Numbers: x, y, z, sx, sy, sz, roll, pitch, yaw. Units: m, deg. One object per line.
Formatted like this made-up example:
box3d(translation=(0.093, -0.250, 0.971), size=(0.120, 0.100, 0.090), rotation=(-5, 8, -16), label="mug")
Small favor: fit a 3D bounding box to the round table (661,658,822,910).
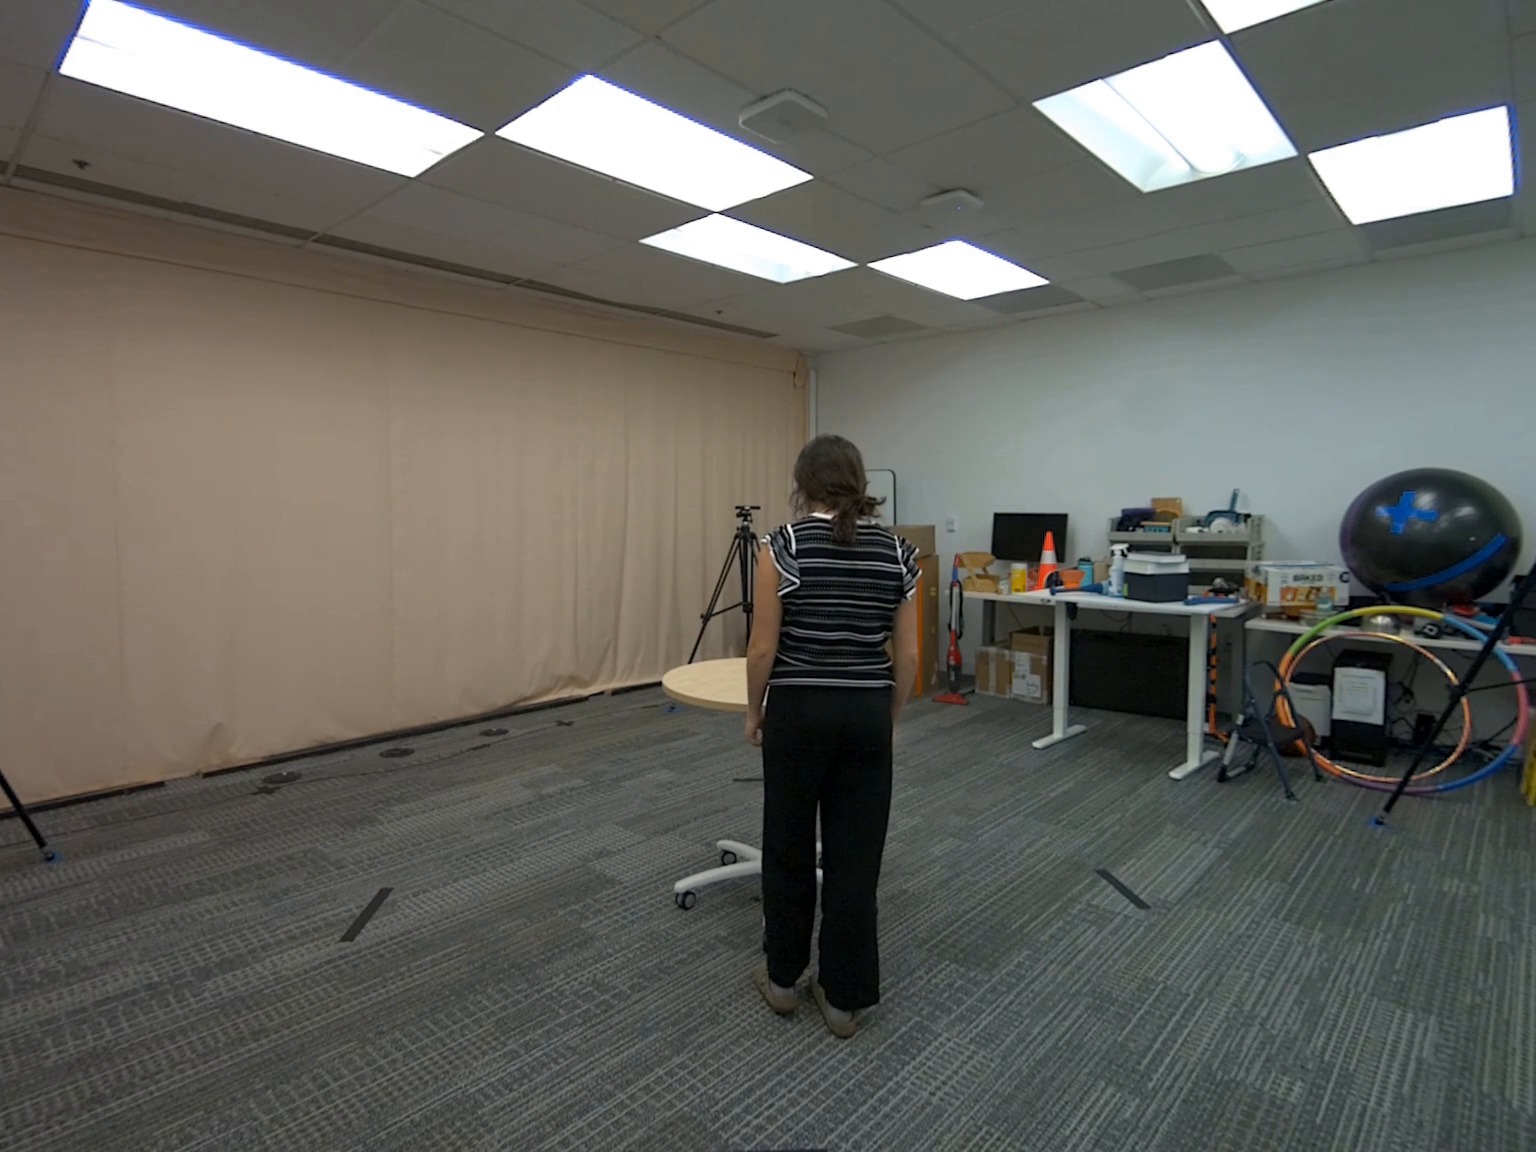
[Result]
box3d(translation=(0.016, 0.749, 2.955), size=(0.784, 0.784, 0.788), rotation=(0, 4, -2), label="round table")
